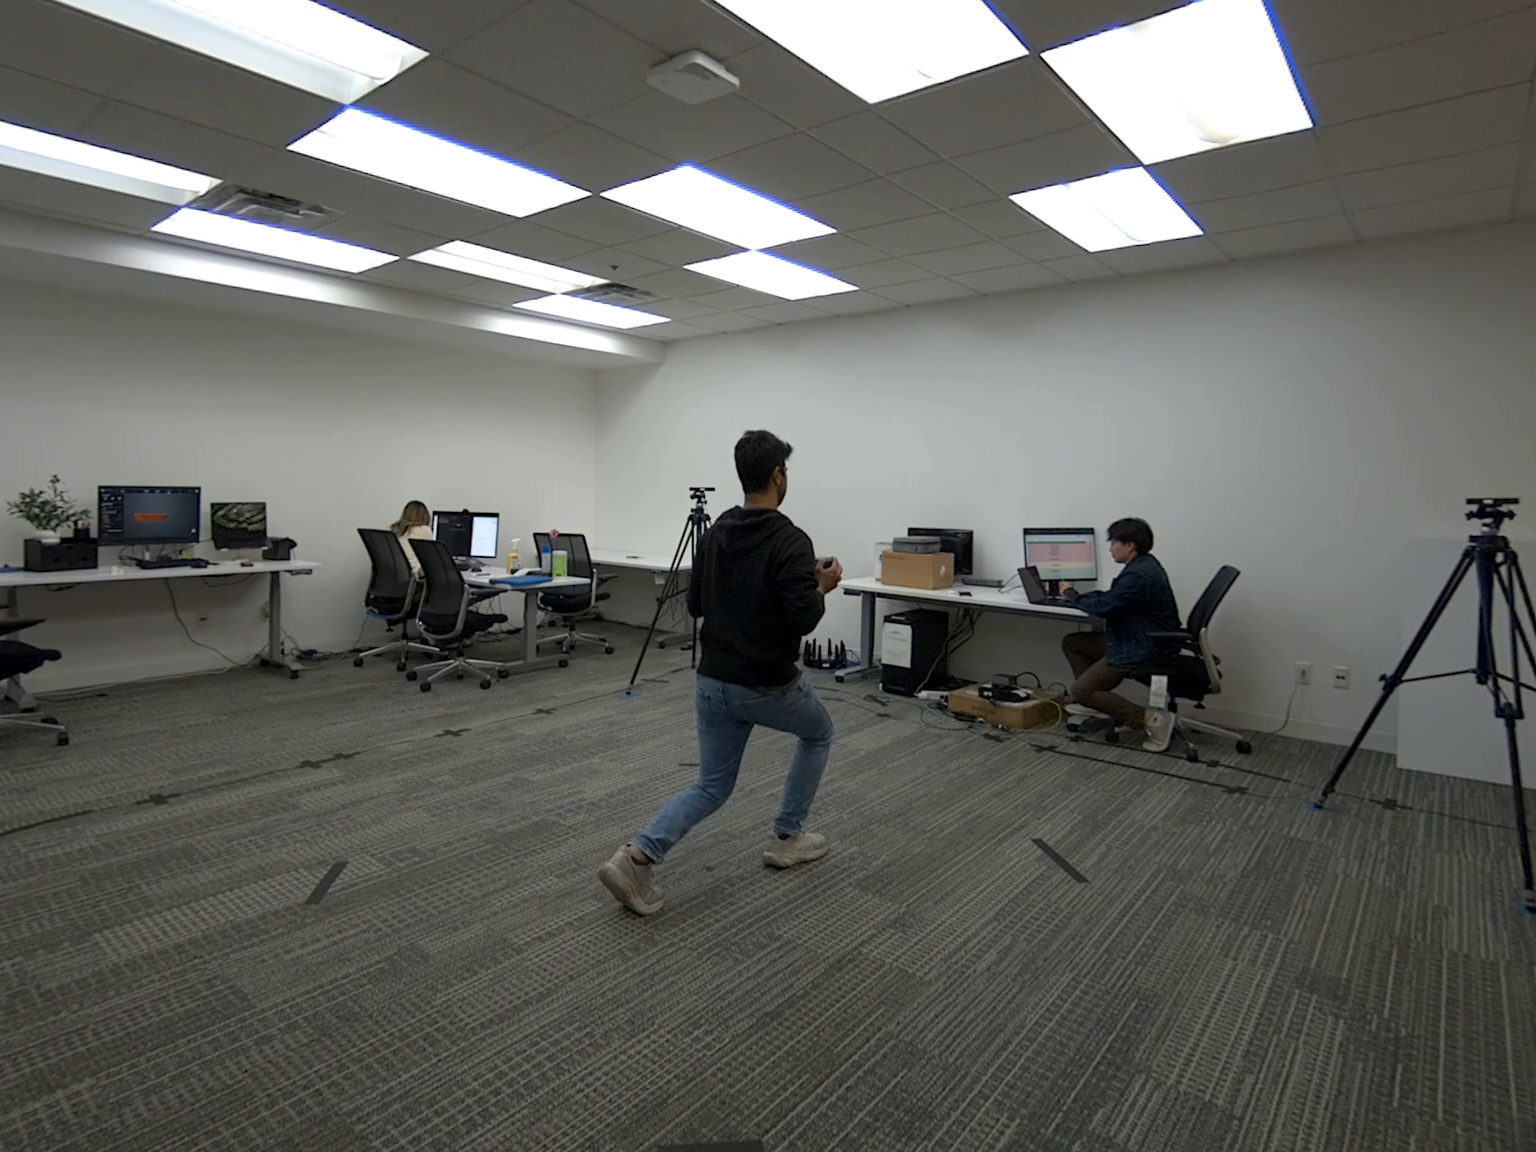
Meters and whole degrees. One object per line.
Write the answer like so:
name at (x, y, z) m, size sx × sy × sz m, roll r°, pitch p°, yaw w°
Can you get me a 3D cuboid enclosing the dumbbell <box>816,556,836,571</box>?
dumbbell at (0.109, -0.019, 3.217) m, size 0.303 × 0.124 × 0.104 m, roll 4°, pitch -21°, yaw 45°
